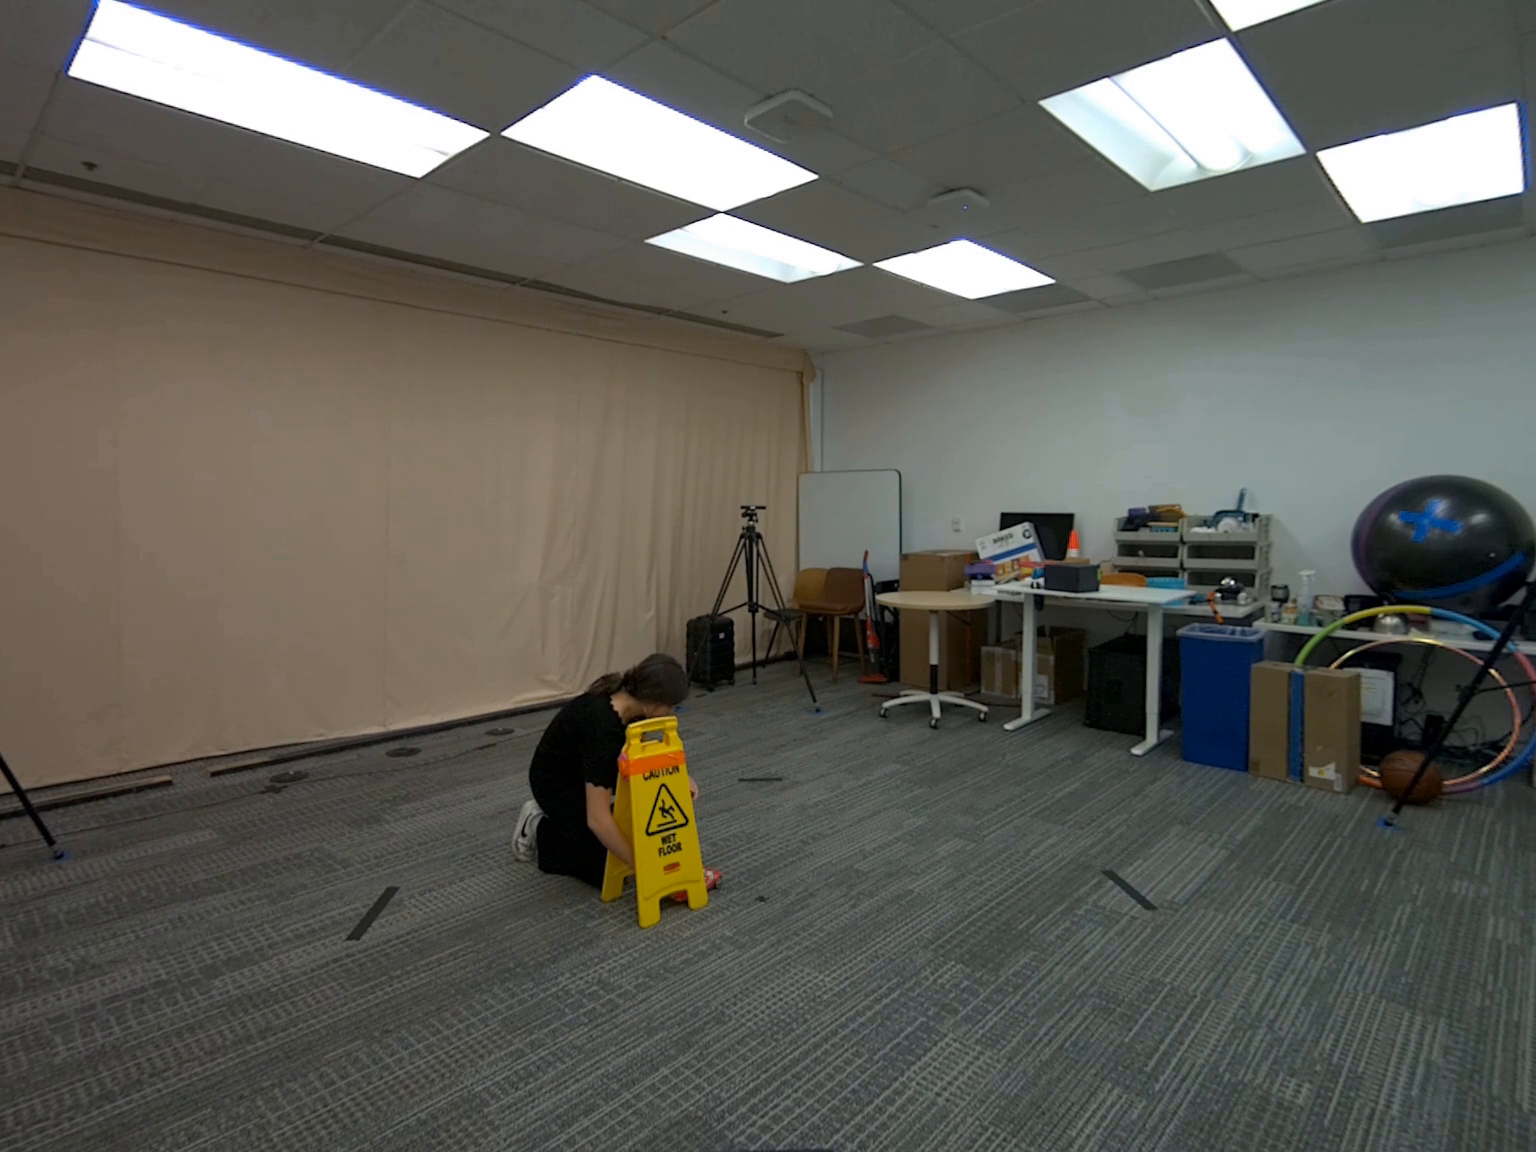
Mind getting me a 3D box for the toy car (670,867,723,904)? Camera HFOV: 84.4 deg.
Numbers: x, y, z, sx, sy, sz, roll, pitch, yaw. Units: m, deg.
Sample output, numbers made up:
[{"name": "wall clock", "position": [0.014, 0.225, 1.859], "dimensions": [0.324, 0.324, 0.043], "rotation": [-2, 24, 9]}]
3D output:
[{"name": "toy car", "position": [-0.276, 1.118, 3.021], "dimensions": [0.134, 0.083, 0.246], "rotation": [4, -3, 41]}]
